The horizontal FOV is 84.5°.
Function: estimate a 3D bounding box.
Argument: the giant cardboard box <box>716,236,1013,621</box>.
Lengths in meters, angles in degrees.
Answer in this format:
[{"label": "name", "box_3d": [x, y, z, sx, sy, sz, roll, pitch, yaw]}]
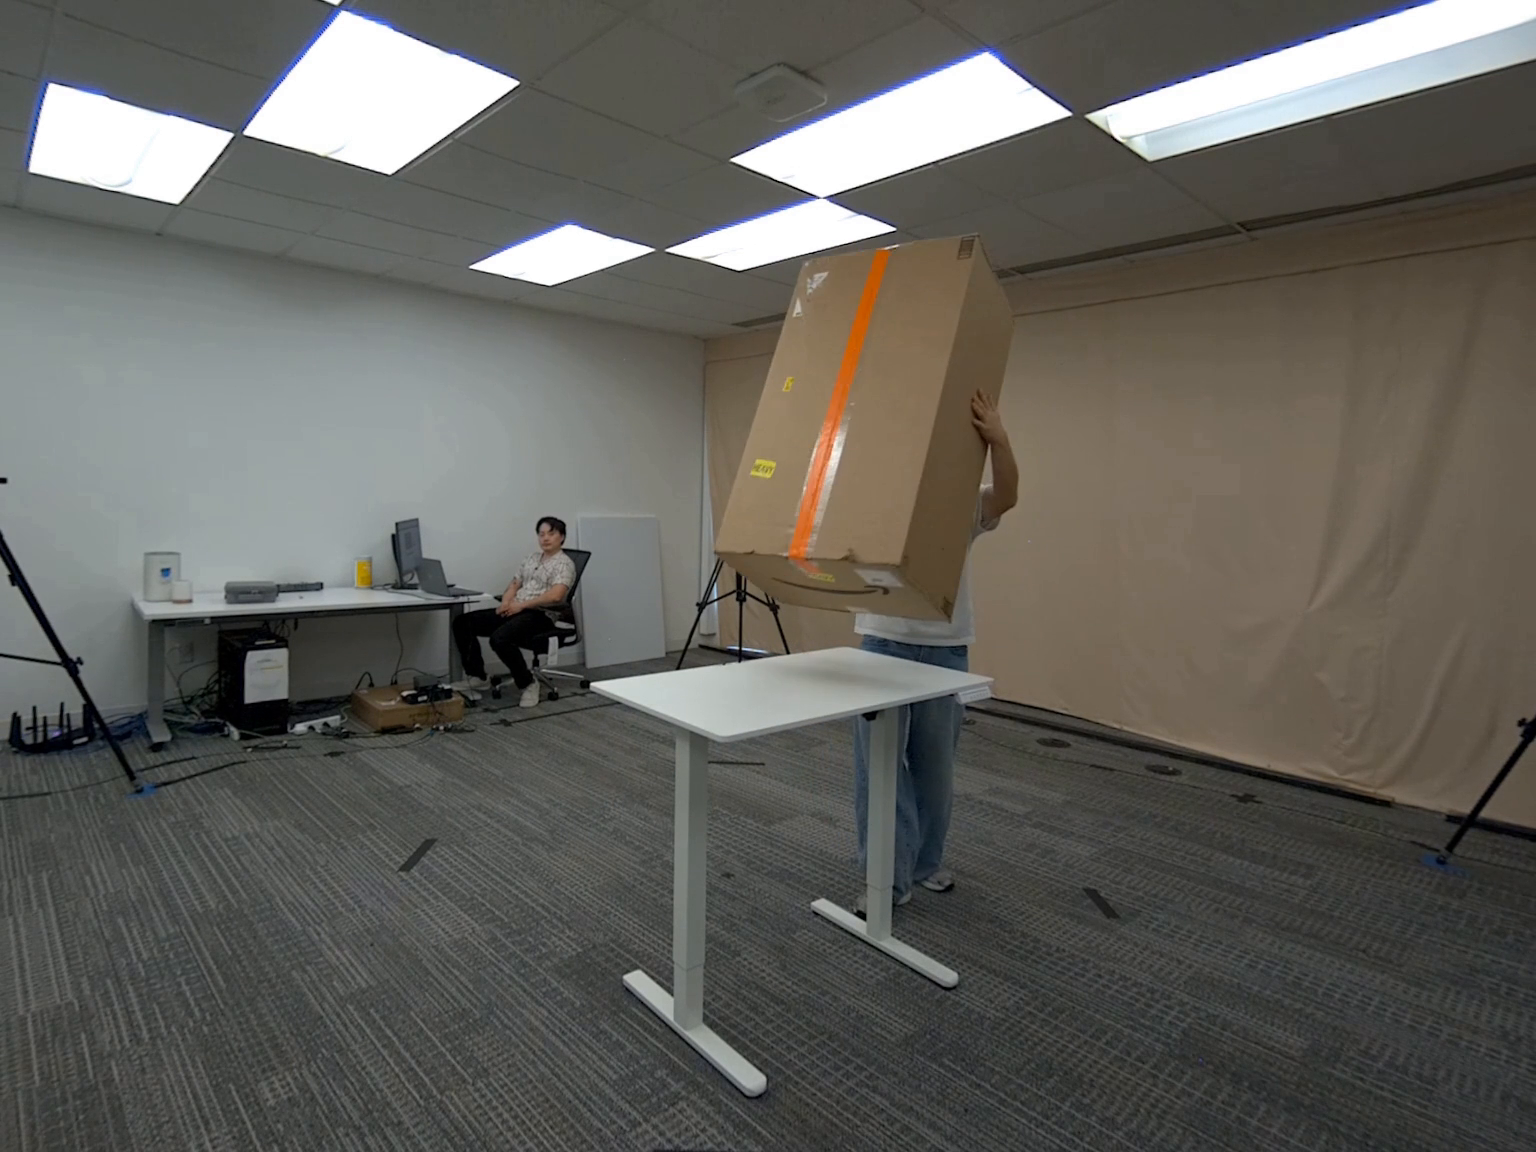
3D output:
[{"label": "giant cardboard box", "box_3d": [0.316, -0.424, 2.529, 0.591, 1.034, 0.413, 4, -21, 35]}]
